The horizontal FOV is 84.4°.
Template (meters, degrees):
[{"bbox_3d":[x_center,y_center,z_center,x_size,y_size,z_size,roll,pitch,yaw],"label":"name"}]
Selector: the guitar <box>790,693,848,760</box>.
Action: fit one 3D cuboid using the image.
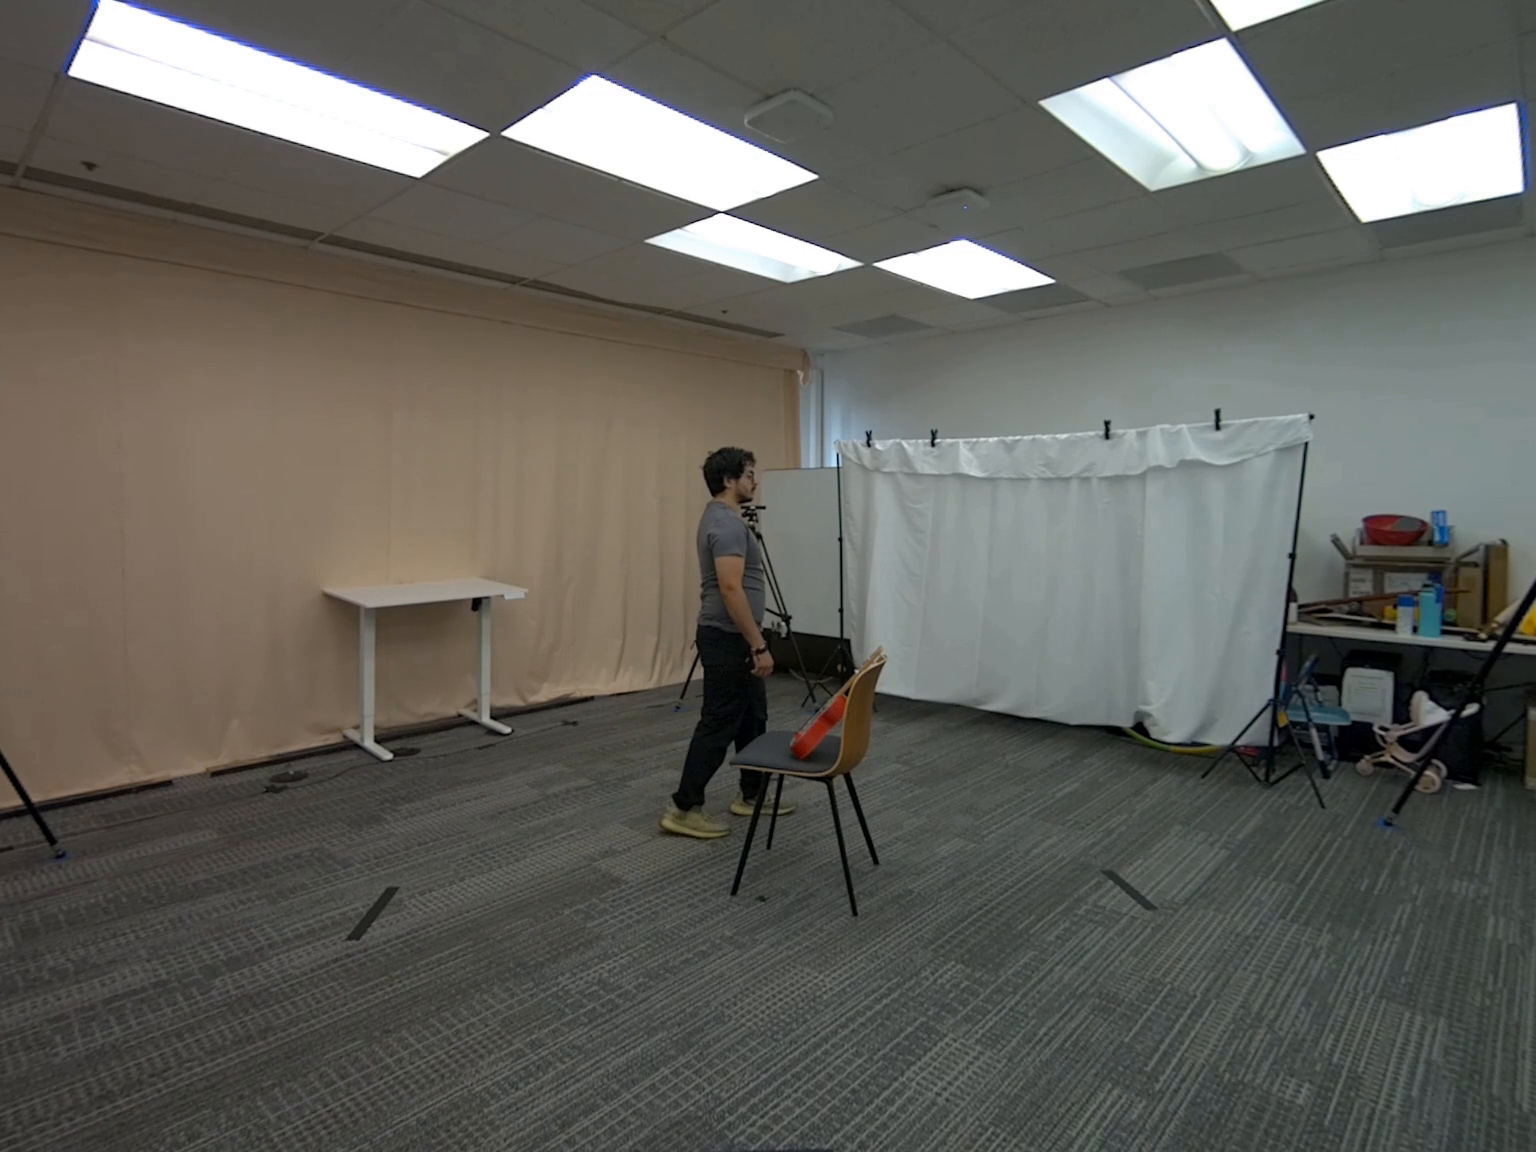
[{"bbox_3d":[0.258,0.460,3.029,0.071,0.499,0.191,43,14,2],"label":"guitar"}]
